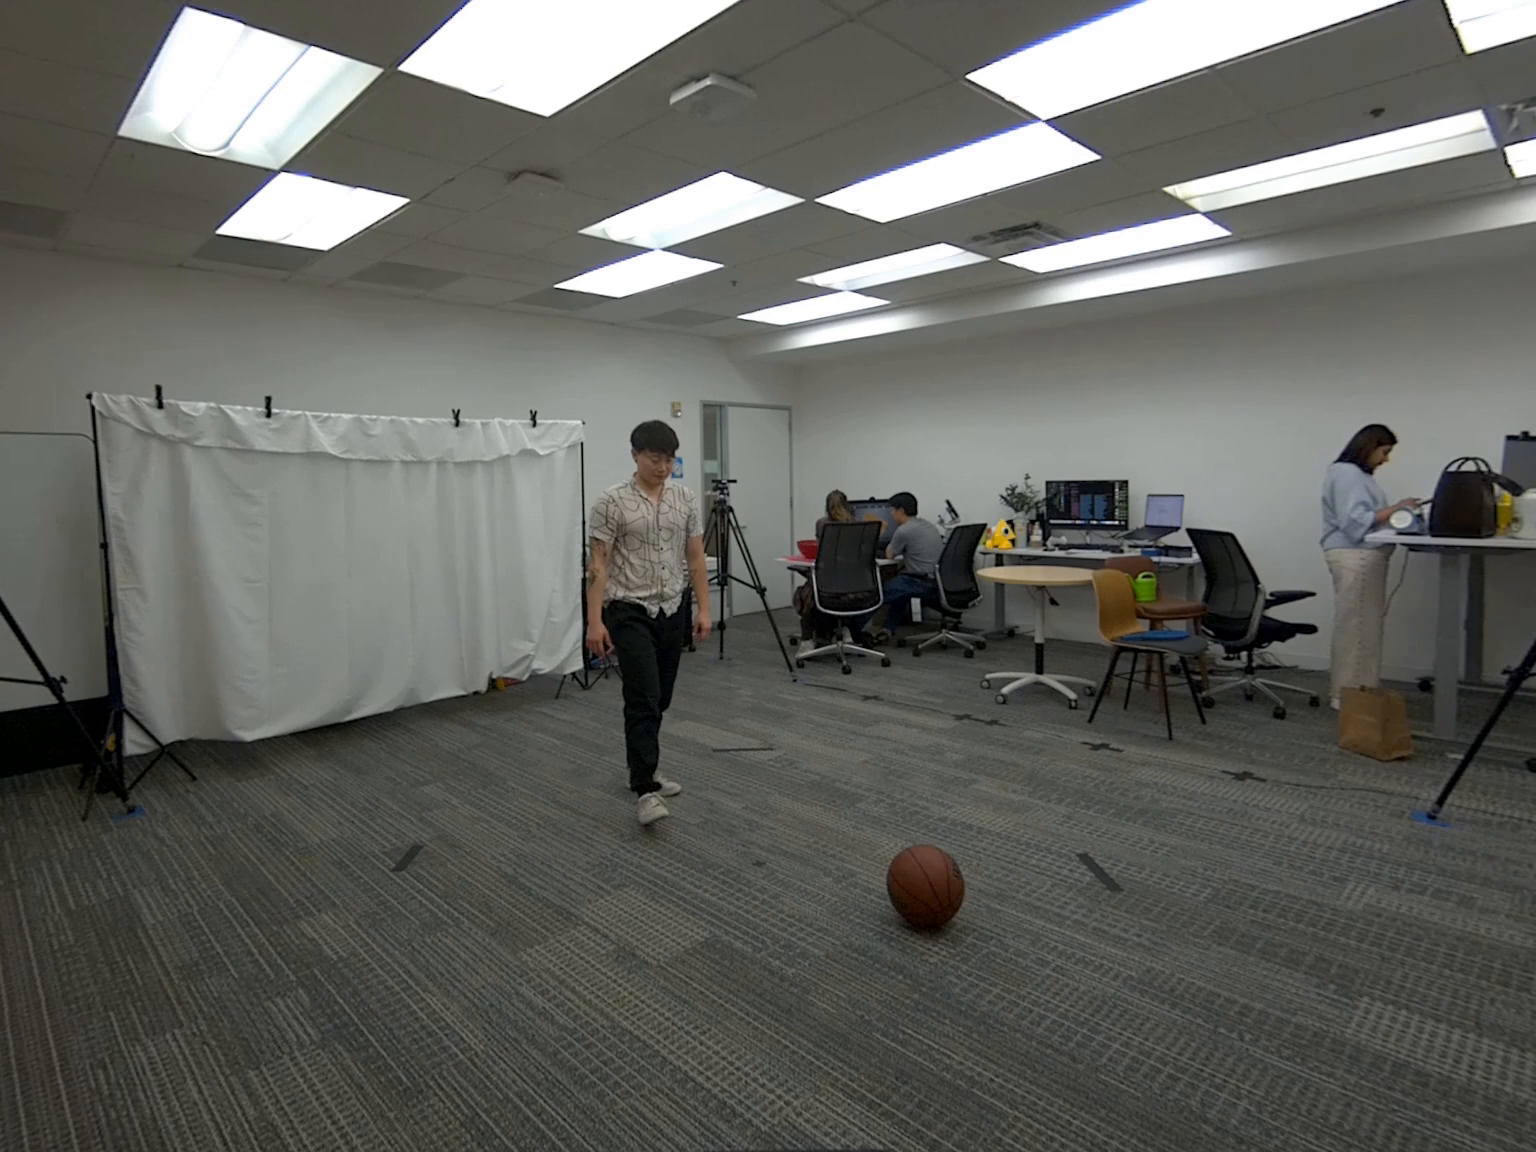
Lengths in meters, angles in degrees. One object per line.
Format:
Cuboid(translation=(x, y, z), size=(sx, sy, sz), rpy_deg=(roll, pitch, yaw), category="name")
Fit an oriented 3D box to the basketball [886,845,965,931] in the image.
Cuboid(translation=(0.496, 0.966, 2.676), size=(0.236, 0.235, 0.237), rpy_deg=(-1, 5, -2), category="basketball")
